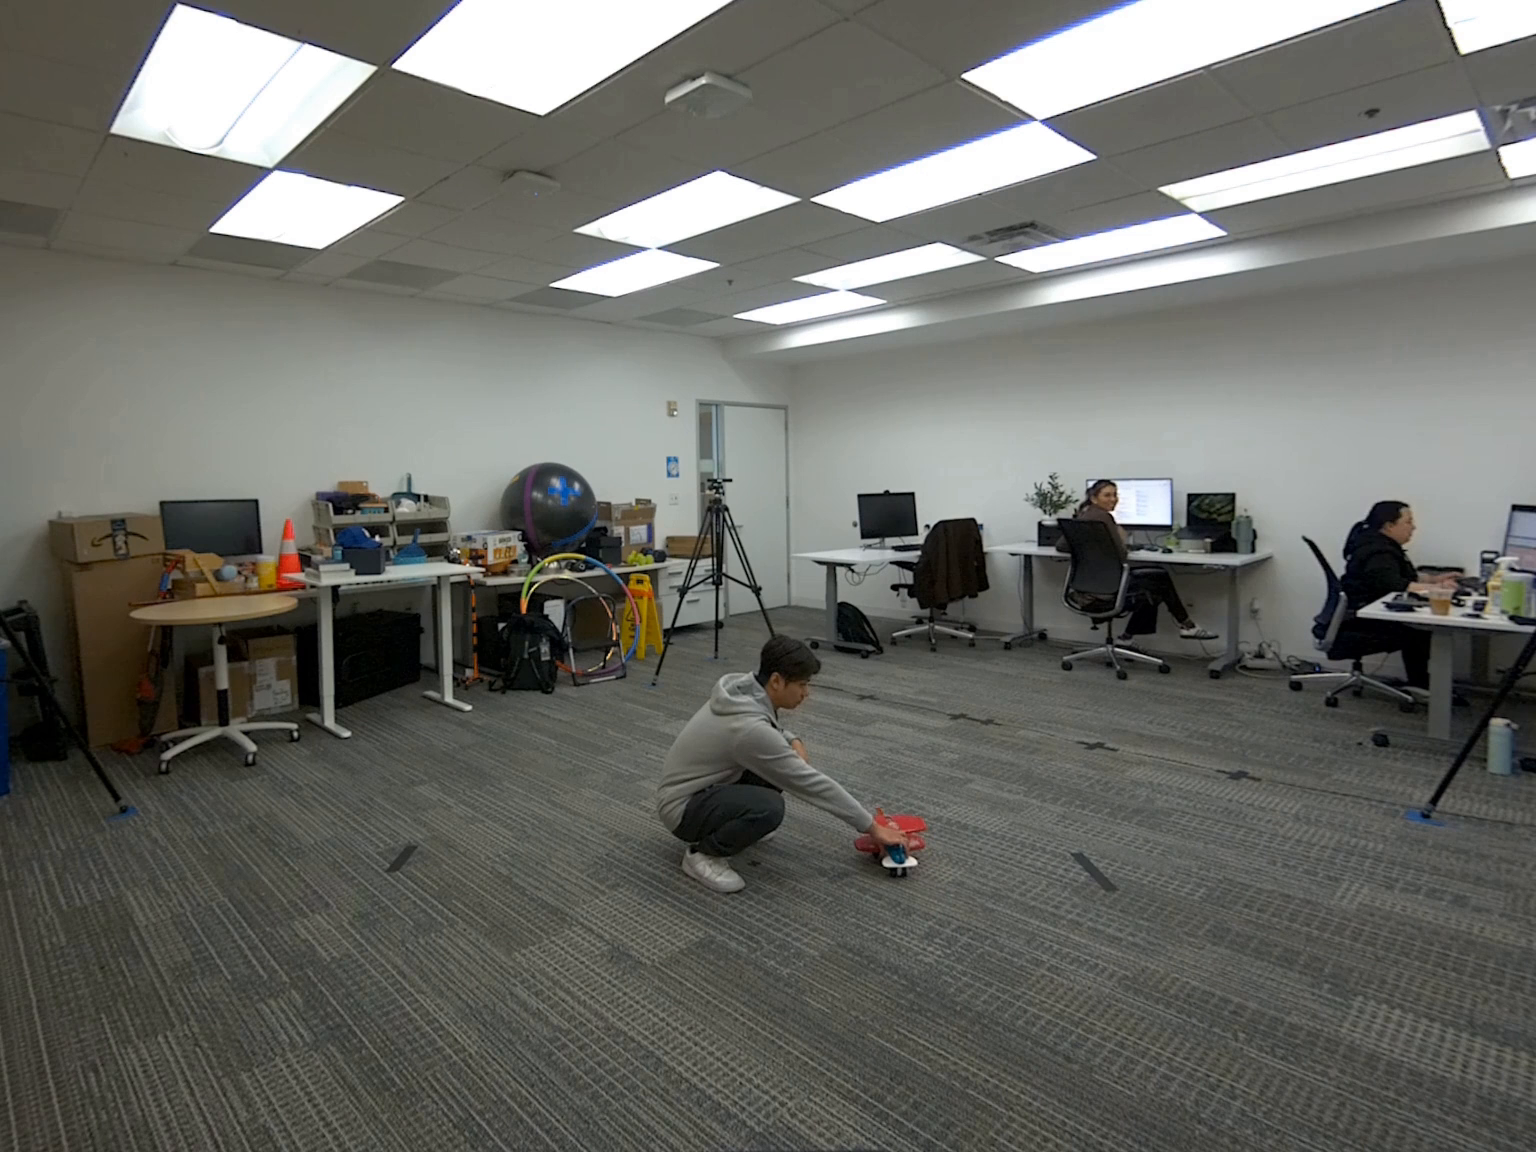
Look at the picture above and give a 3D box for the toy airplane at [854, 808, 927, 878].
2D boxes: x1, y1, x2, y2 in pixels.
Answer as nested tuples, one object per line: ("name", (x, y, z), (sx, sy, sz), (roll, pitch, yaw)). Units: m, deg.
("toy airplane", (0.464, 0.962, 3.075), (0.245, 0.156, 0.267), (-5, 7, -32))
